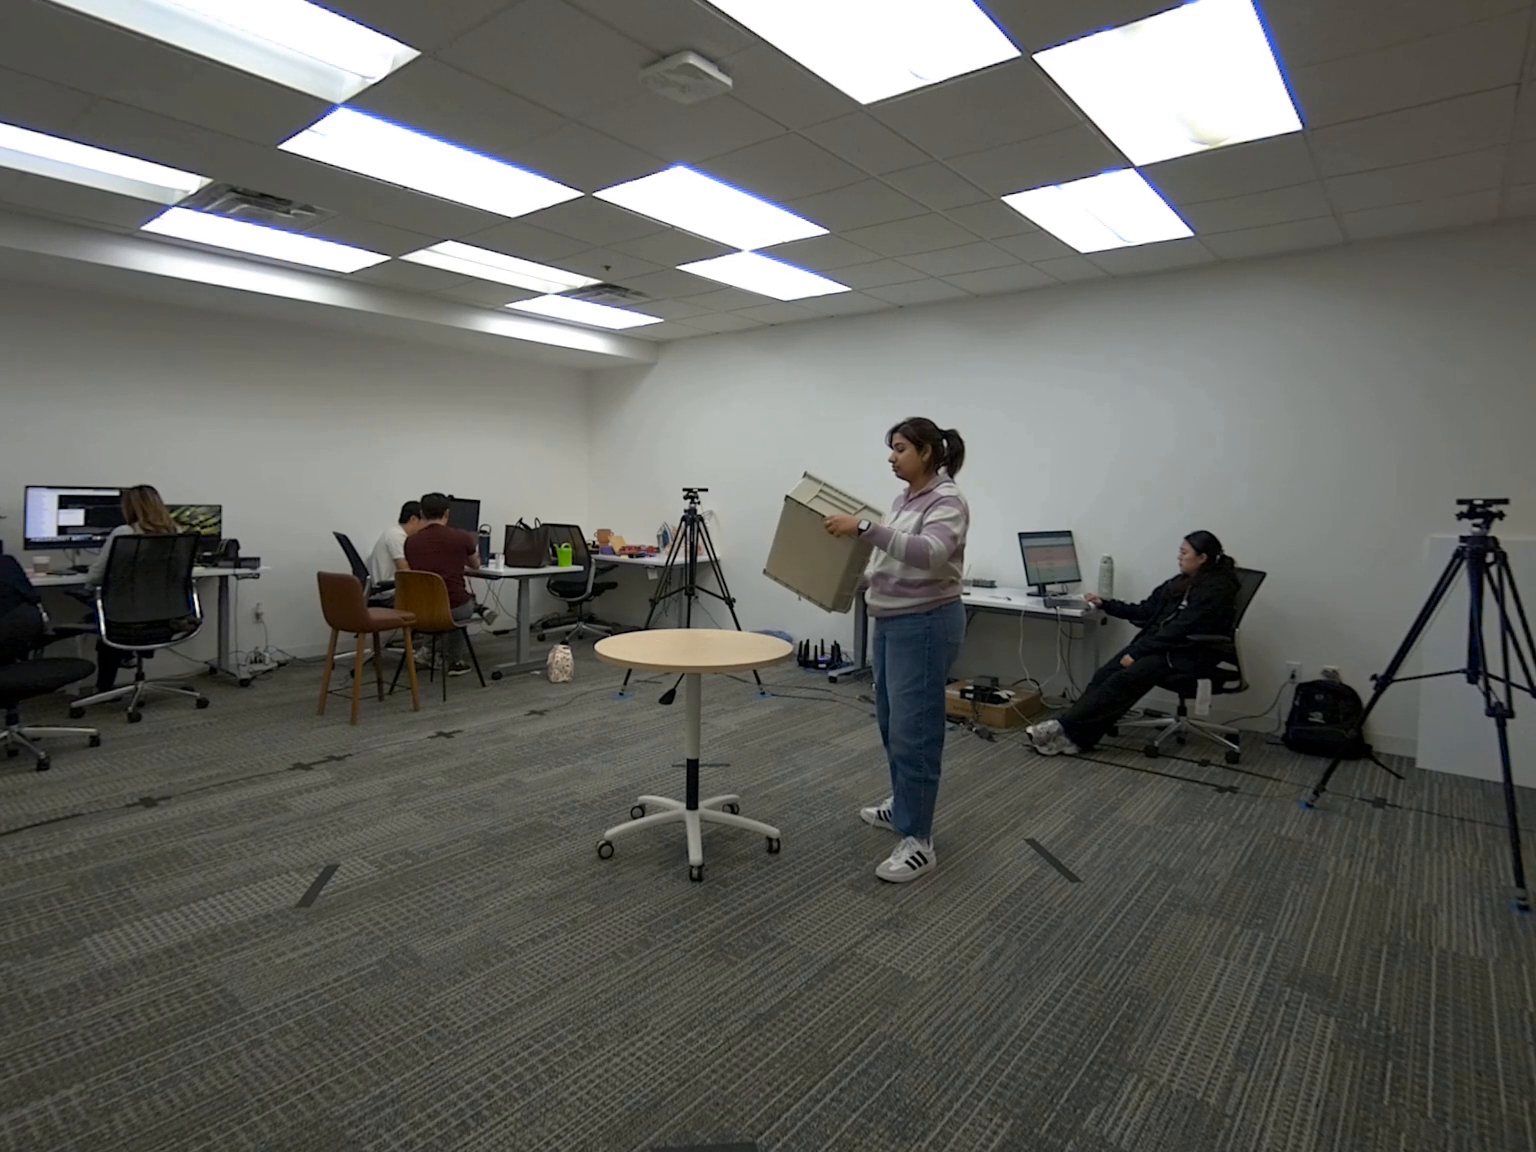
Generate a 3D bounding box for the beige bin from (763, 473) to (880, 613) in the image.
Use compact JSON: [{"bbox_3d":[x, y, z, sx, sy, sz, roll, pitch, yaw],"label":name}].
[{"bbox_3d":[0.198,-0.116,3.250,0.386,0.414,0.188,31,44,16],"label":"beige bin"}]
